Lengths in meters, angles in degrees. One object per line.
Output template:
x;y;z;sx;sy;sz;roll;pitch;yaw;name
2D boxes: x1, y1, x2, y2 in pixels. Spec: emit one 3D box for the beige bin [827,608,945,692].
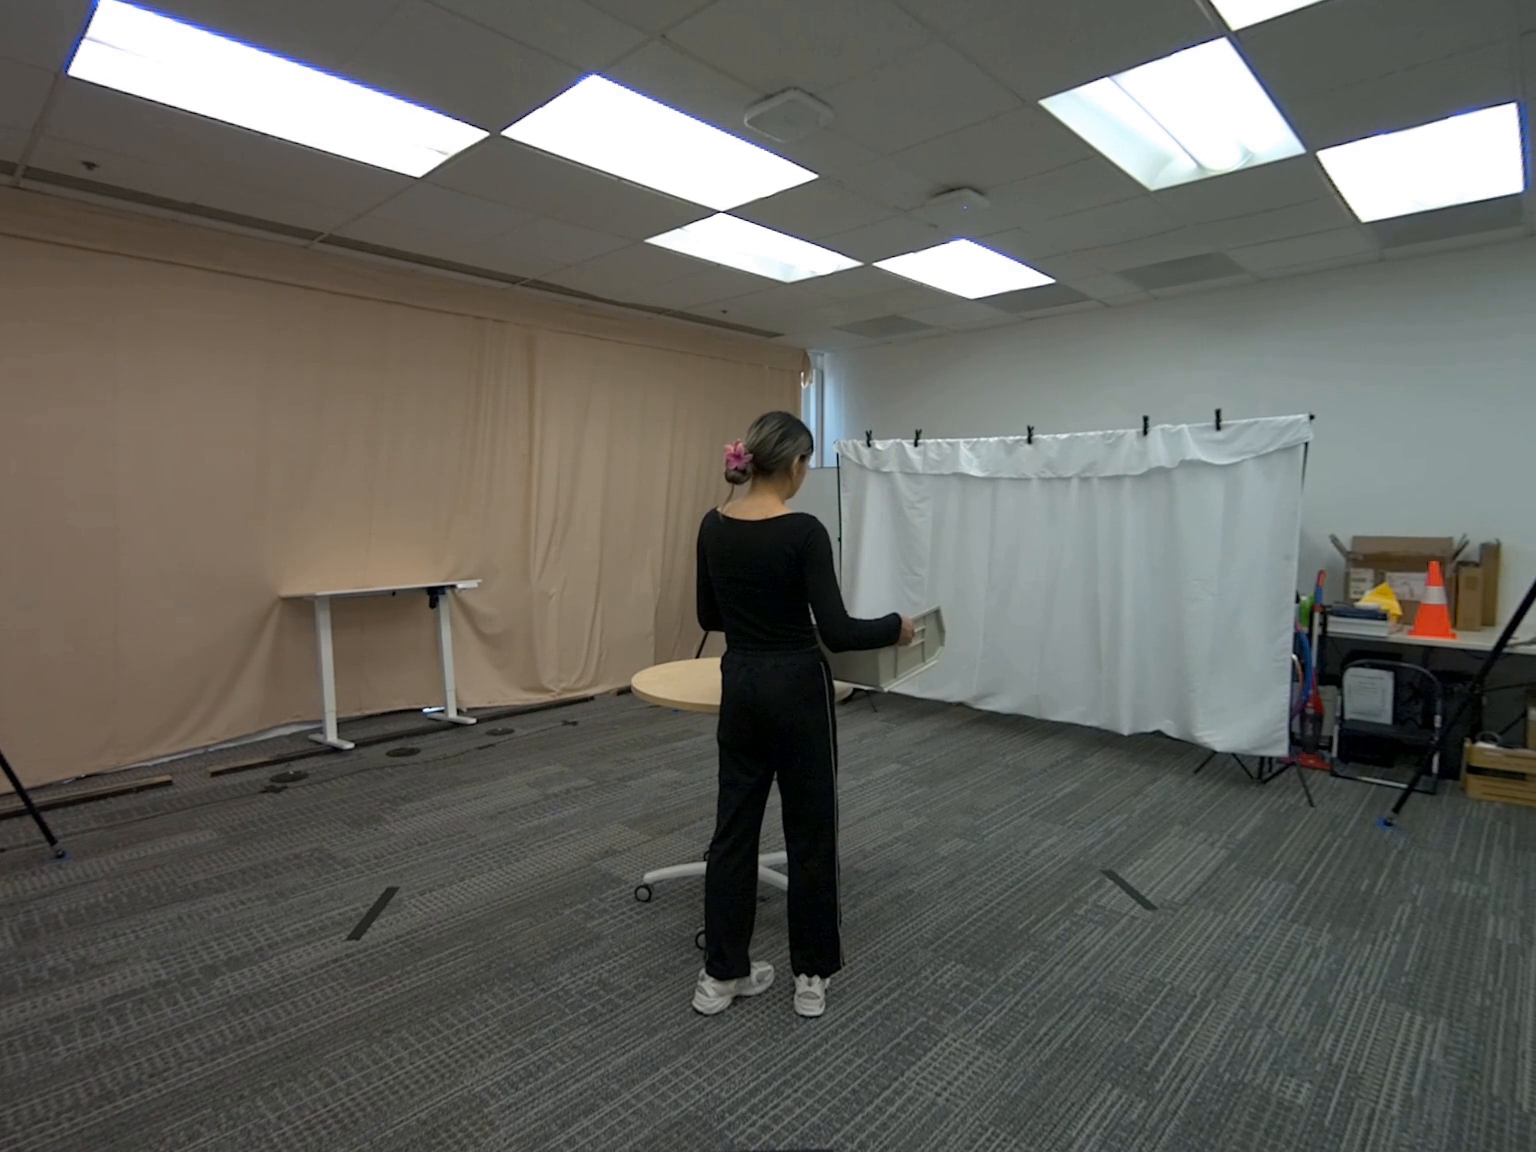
0.274;0.187;2.594;0.437;0.187;0.368;6;16;40;beige bin
